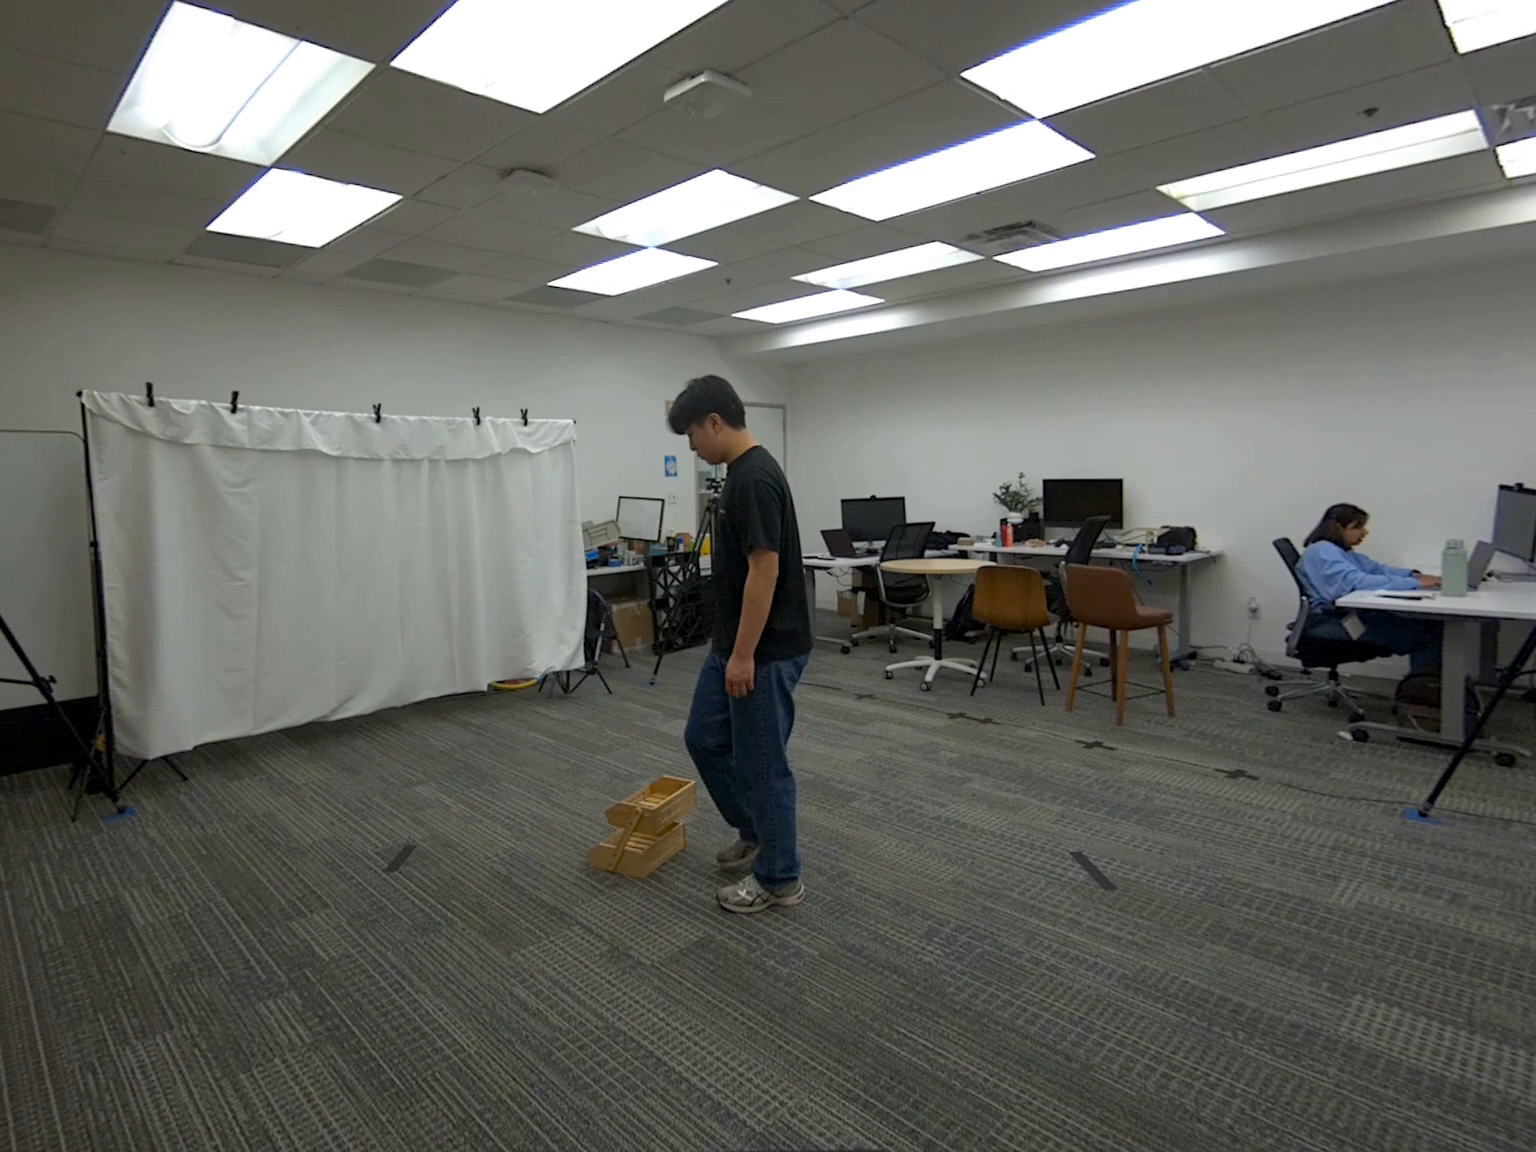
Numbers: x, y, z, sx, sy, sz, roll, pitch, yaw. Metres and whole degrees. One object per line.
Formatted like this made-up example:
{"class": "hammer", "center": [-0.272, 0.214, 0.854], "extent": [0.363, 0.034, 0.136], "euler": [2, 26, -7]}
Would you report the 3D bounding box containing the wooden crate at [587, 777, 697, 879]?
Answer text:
{"class": "wooden crate", "center": [-0.470, 0.910, 3.164], "extent": [0.309, 0.272, 0.318], "euler": [2, 6, 26]}
